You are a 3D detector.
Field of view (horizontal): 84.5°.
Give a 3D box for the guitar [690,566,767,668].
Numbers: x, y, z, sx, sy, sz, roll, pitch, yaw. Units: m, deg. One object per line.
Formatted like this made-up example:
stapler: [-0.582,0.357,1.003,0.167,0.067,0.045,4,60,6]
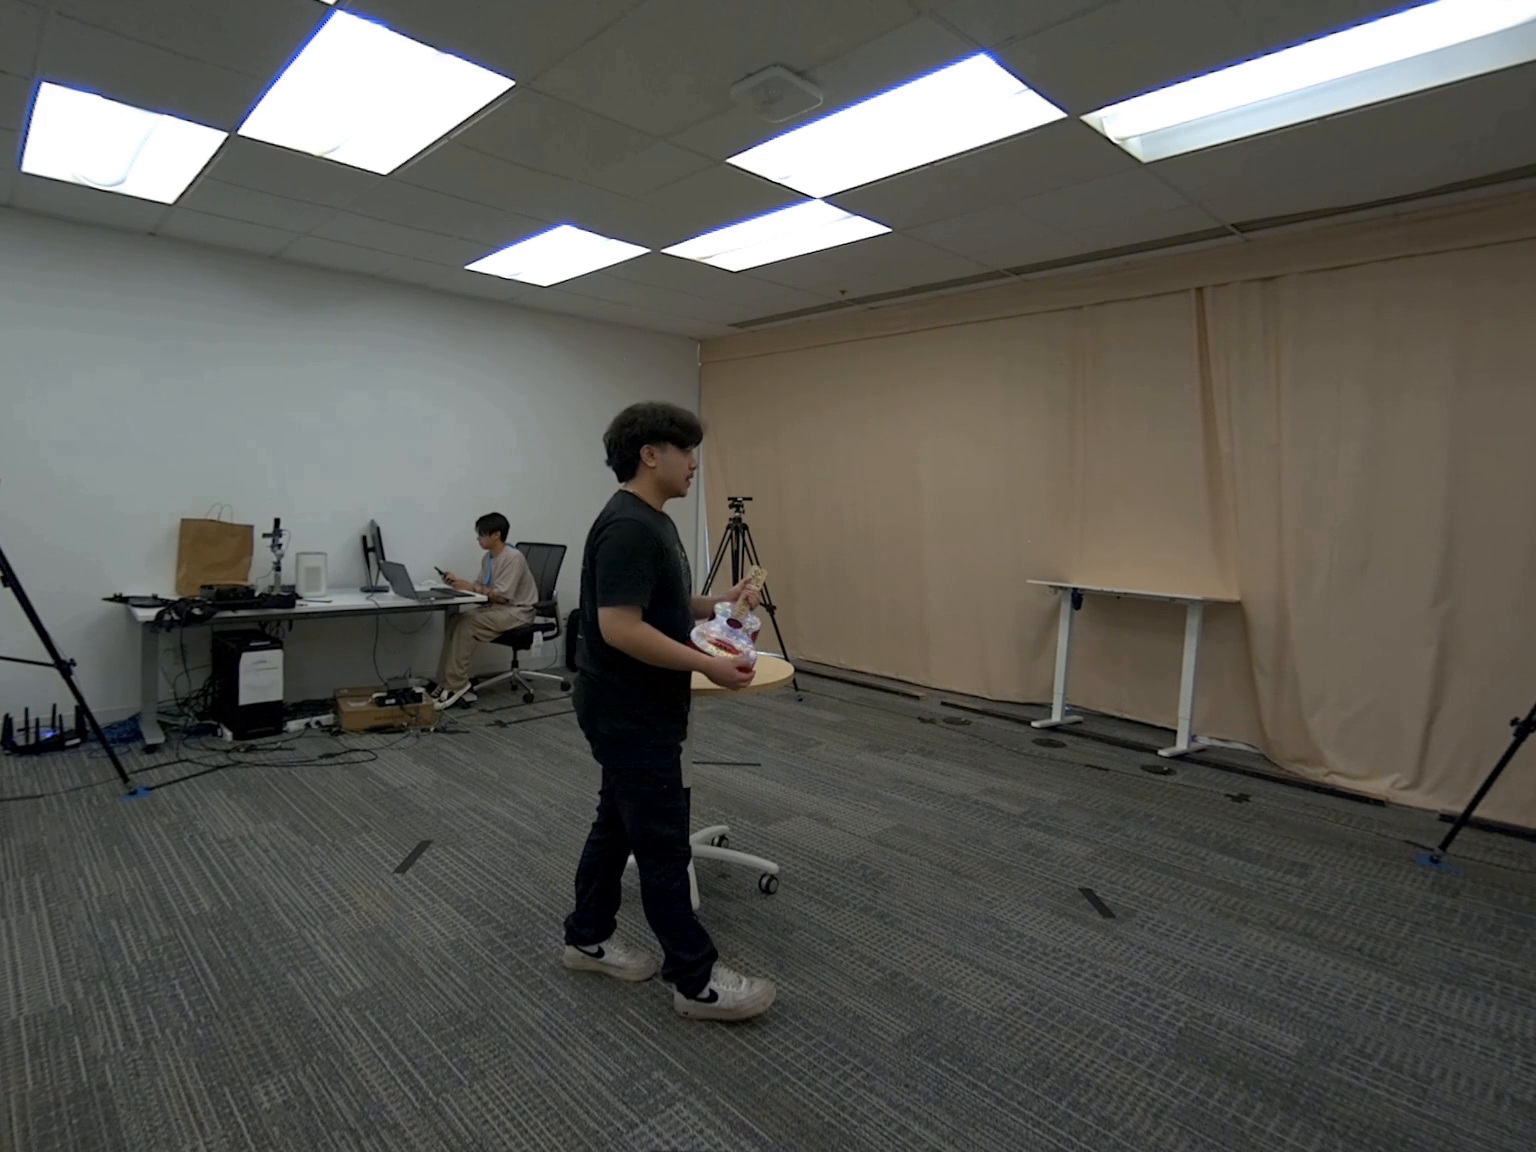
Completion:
guitar: [-0.077,0.128,2.414,0.195,0.070,0.498,28,32,8]
